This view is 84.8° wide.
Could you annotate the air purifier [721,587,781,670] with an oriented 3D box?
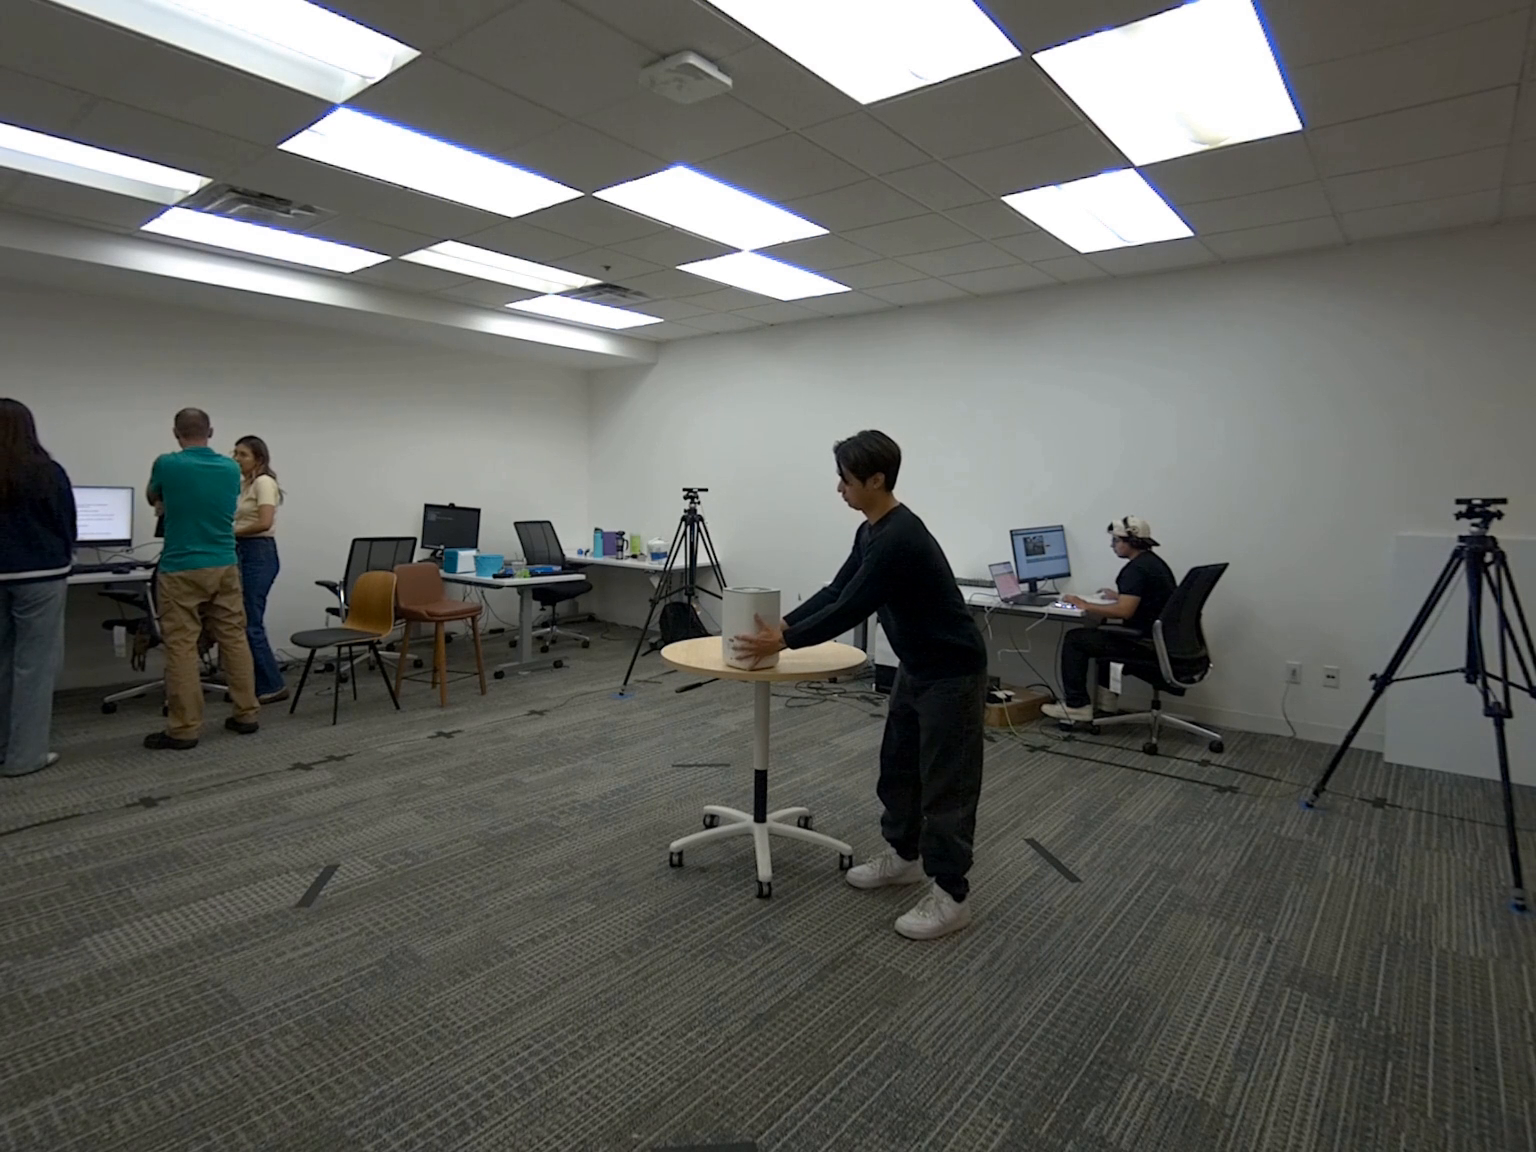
[{"bbox_3d":[-0.066,0.174,2.943,0.166,0.265,0.177,-1,3,-41],"label":"air purifier"}]
